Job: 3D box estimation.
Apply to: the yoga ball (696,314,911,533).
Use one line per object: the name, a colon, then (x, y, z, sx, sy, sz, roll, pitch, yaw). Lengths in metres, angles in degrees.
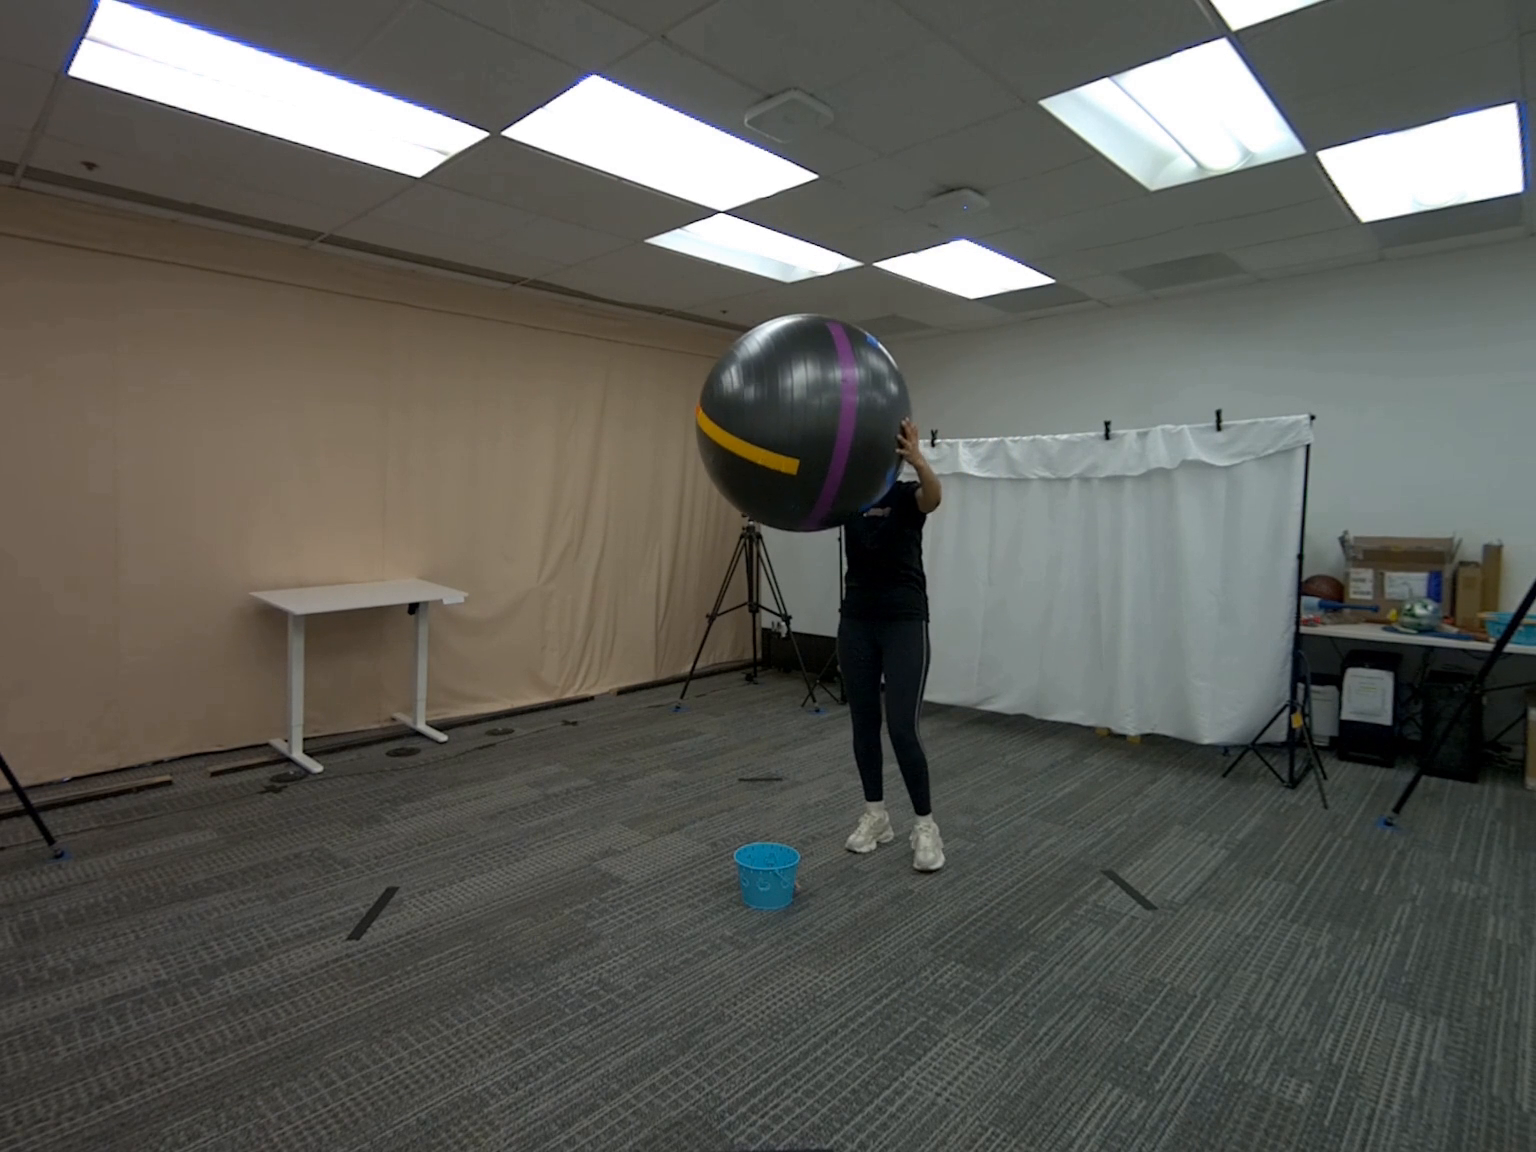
yoga ball: (0.131, -0.525, 2.970, 0.757, 0.756, 0.760, 0, 4, -2)
